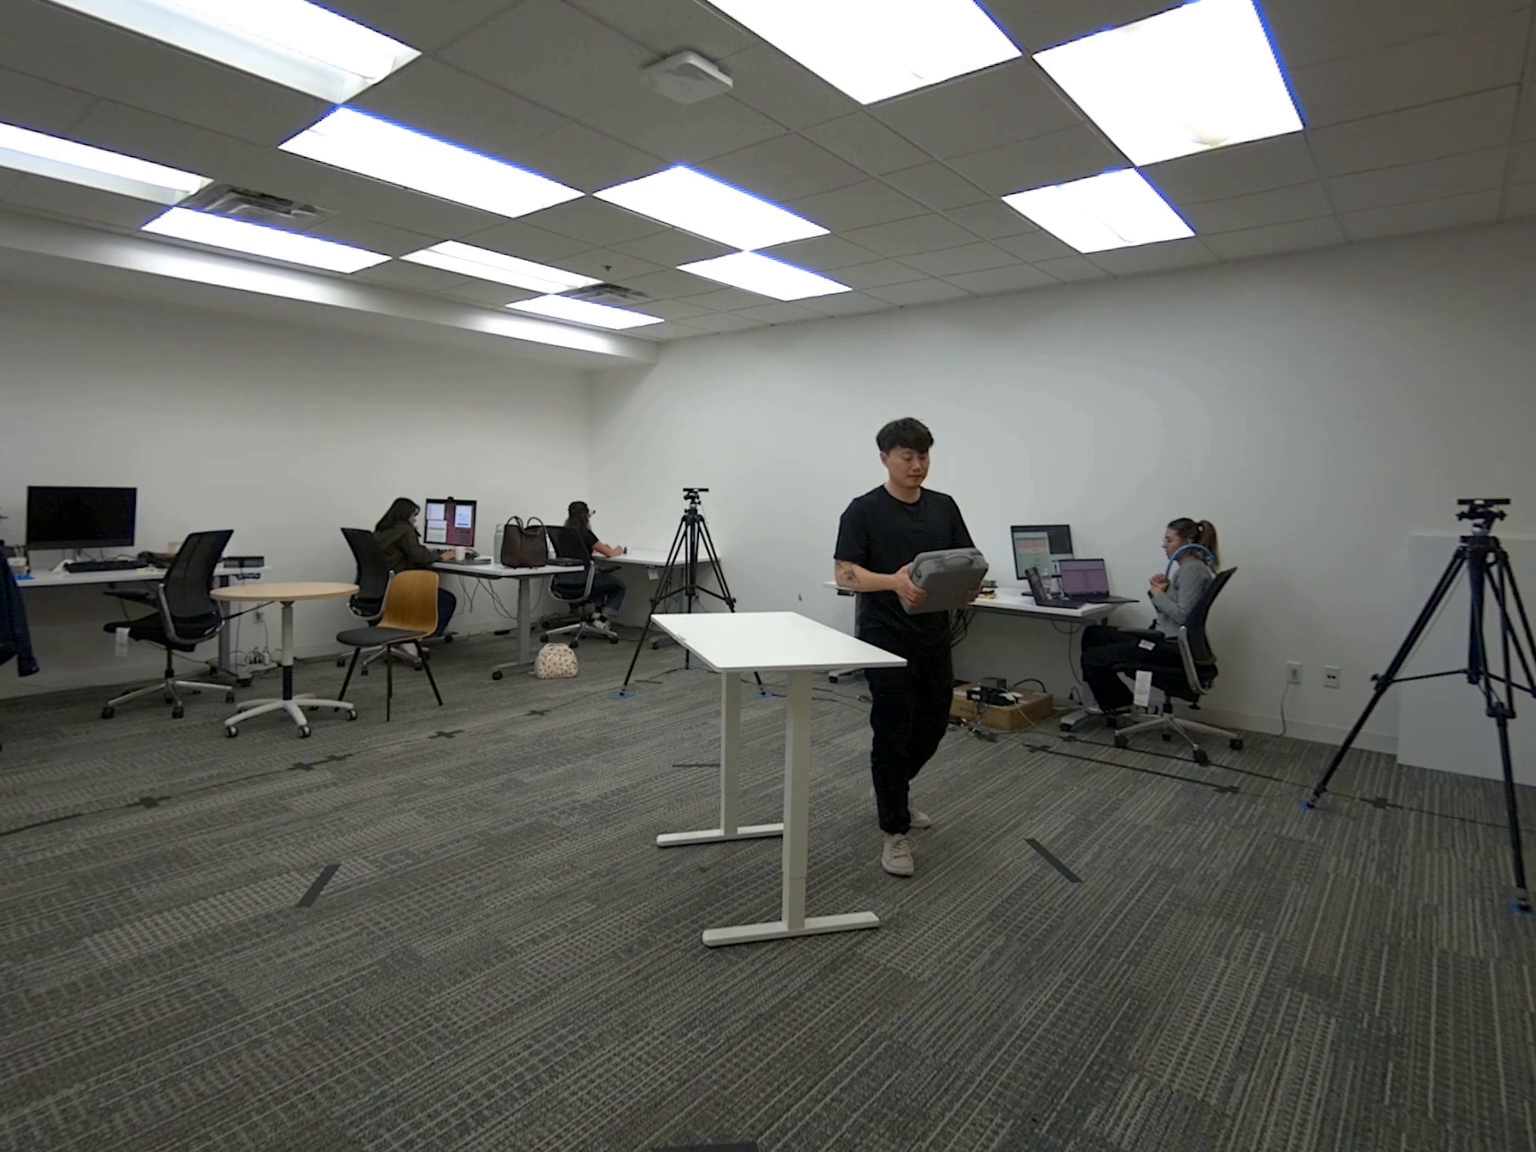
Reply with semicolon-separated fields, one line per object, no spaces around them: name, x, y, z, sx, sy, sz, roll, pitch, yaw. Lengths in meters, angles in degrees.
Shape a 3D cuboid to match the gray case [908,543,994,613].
gray case;0.621;0.012;3.017;0.253;0.108;0.255;-4;-35;-15
